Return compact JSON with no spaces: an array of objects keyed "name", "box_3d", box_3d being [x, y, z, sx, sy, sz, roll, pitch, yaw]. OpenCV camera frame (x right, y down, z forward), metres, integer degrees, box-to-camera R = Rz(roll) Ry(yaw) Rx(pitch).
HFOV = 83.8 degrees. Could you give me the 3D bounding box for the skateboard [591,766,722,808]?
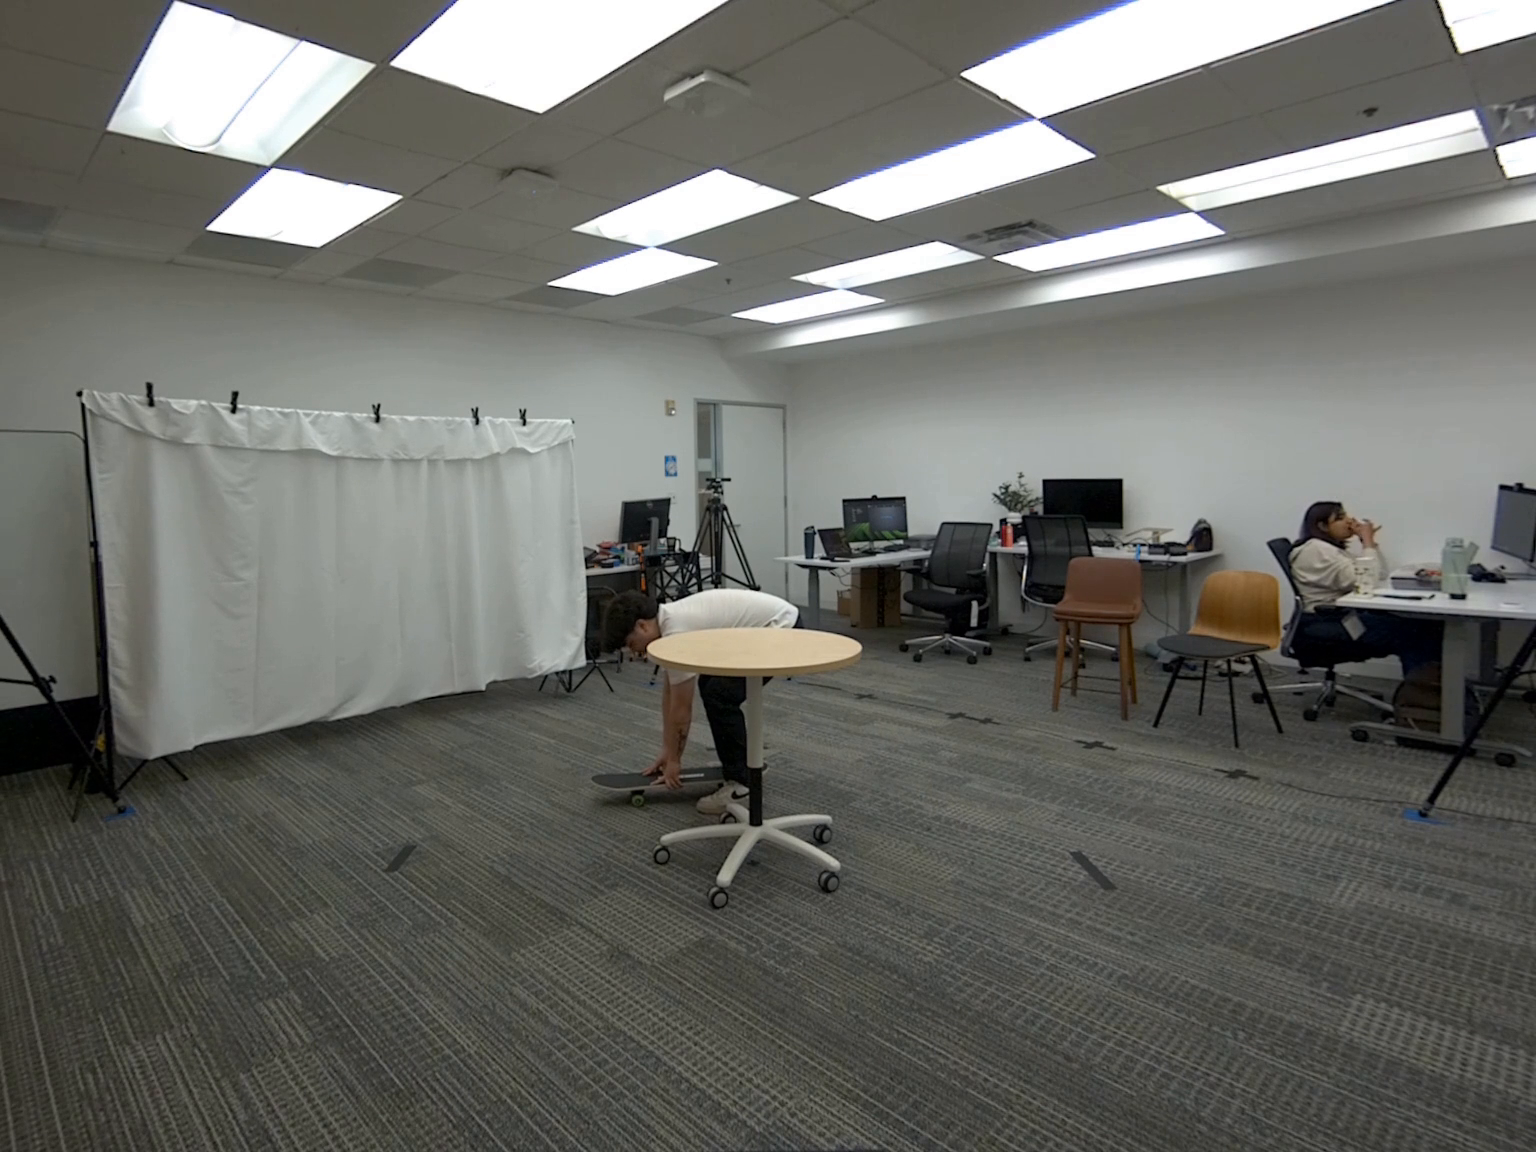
[{"name":"skateboard","box_3d":[-0.379,0.917,3.773,0.778,0.110,0.196,-2,6,-9]}]
